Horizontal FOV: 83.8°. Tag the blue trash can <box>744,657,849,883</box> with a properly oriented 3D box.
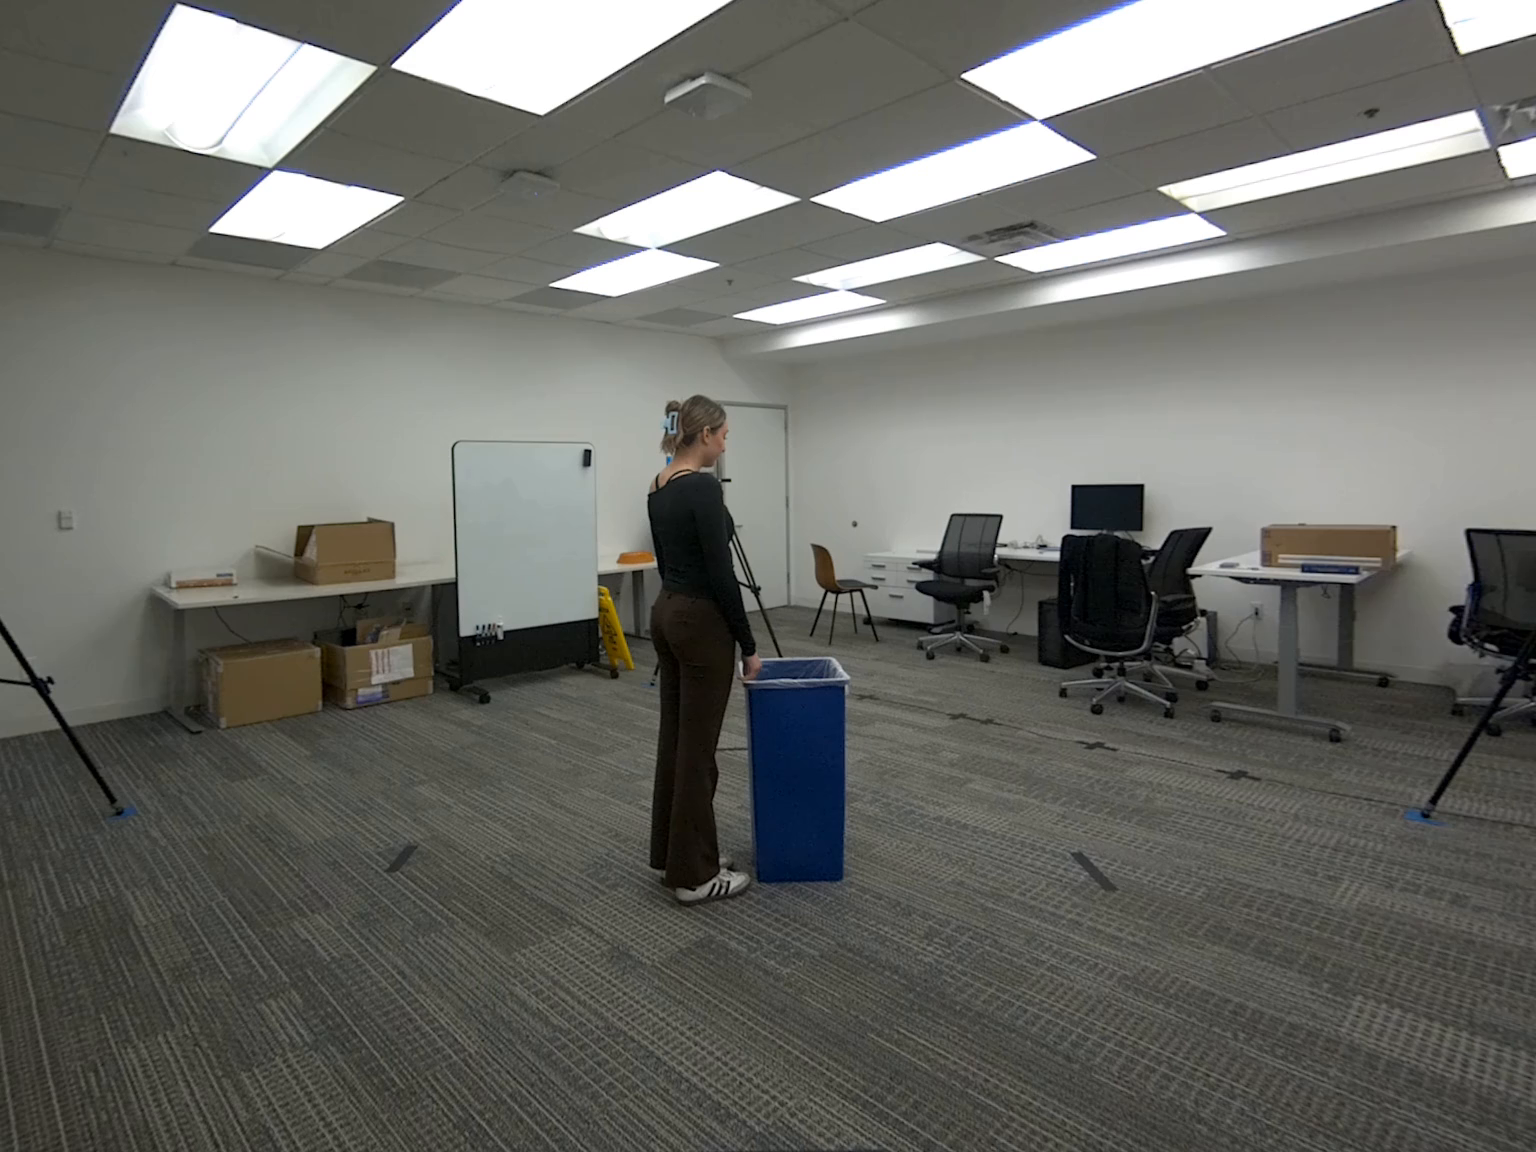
[{"bbox_3d":[0.091,0.685,3.081,0.374,0.711,0.380,-1,4,-2],"label":"blue trash can"}]
